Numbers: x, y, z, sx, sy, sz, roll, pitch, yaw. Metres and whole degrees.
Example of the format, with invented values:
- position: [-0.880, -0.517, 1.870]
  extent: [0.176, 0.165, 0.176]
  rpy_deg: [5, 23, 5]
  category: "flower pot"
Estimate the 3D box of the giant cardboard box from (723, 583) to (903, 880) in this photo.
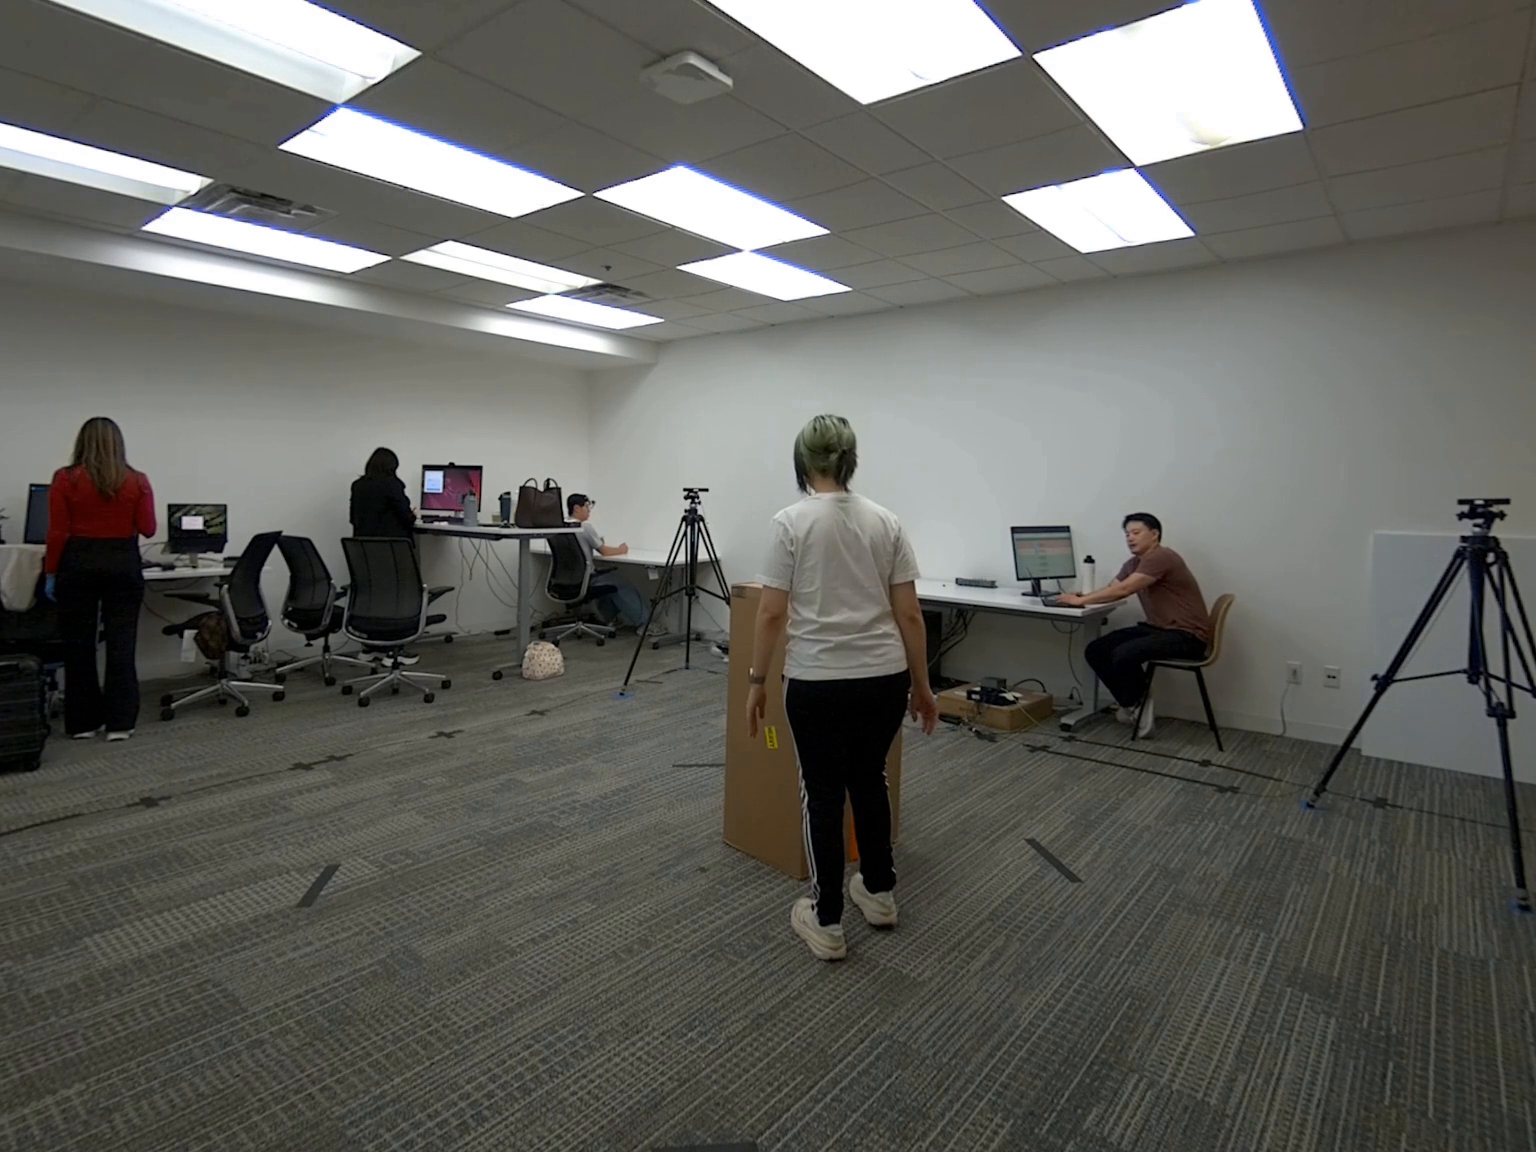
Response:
- position: [0.180, 0.546, 3.351]
  extent: [0.566, 1.025, 0.462]
  rpy_deg: [-1, 3, -44]
  category: "giant cardboard box"
